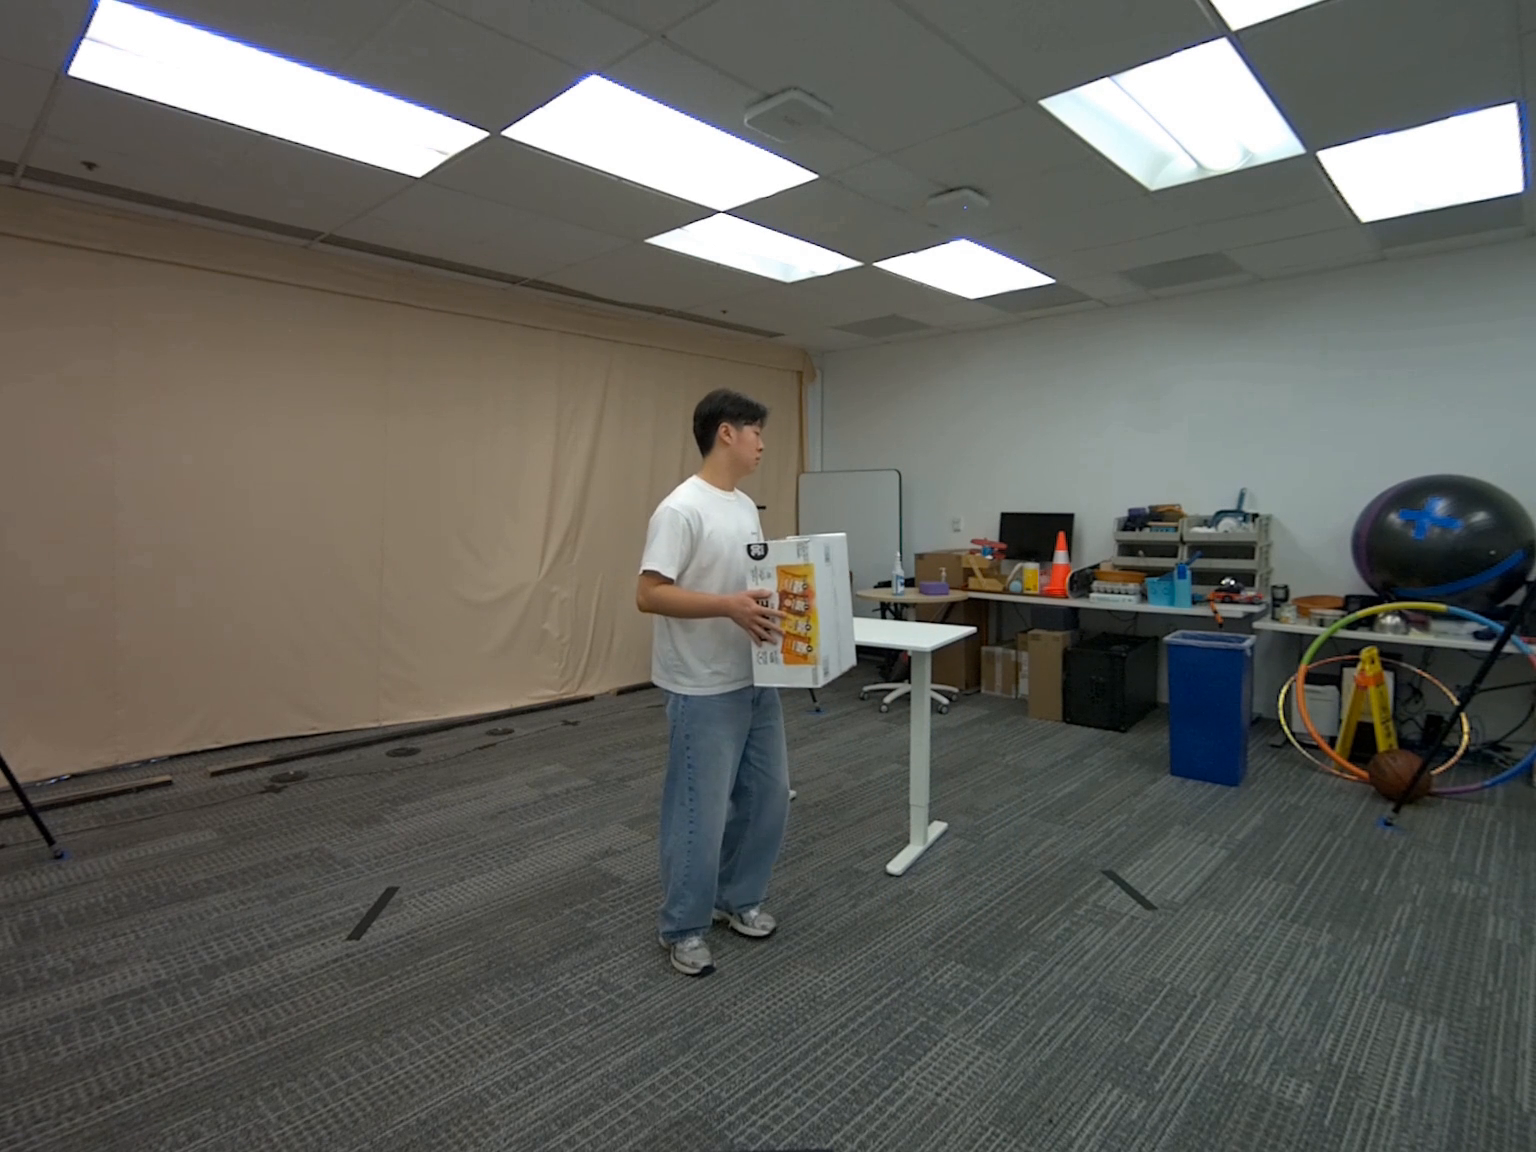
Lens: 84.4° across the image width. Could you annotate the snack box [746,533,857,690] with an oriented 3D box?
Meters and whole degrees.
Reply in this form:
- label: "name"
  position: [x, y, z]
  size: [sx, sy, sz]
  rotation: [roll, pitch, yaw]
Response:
- label: "snack box"
  position: [0.115, 0.091, 2.470]
  size: [0.210, 0.405, 0.333]
  rotation: [-4, 2, 23]
